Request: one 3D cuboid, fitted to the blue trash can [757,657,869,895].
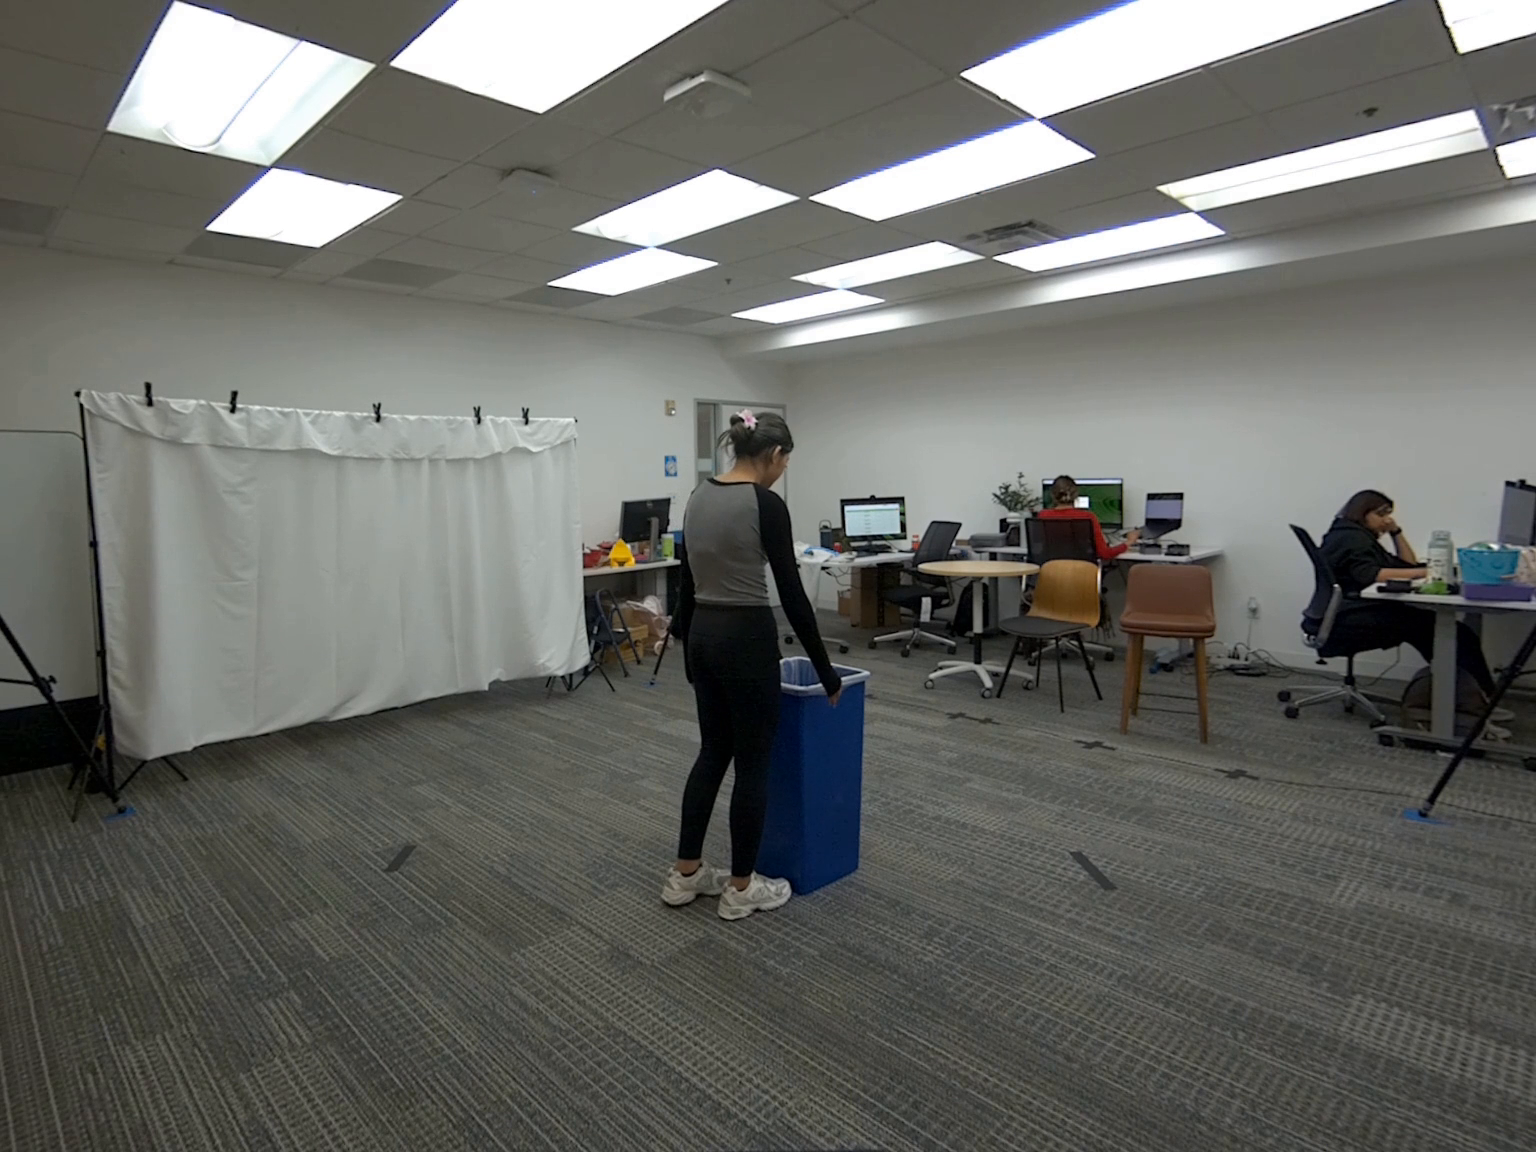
[{"bbox_3d":[0.124,0.689,3.032,0.368,0.711,0.385,-5,6,-44],"label":"blue trash can"}]
